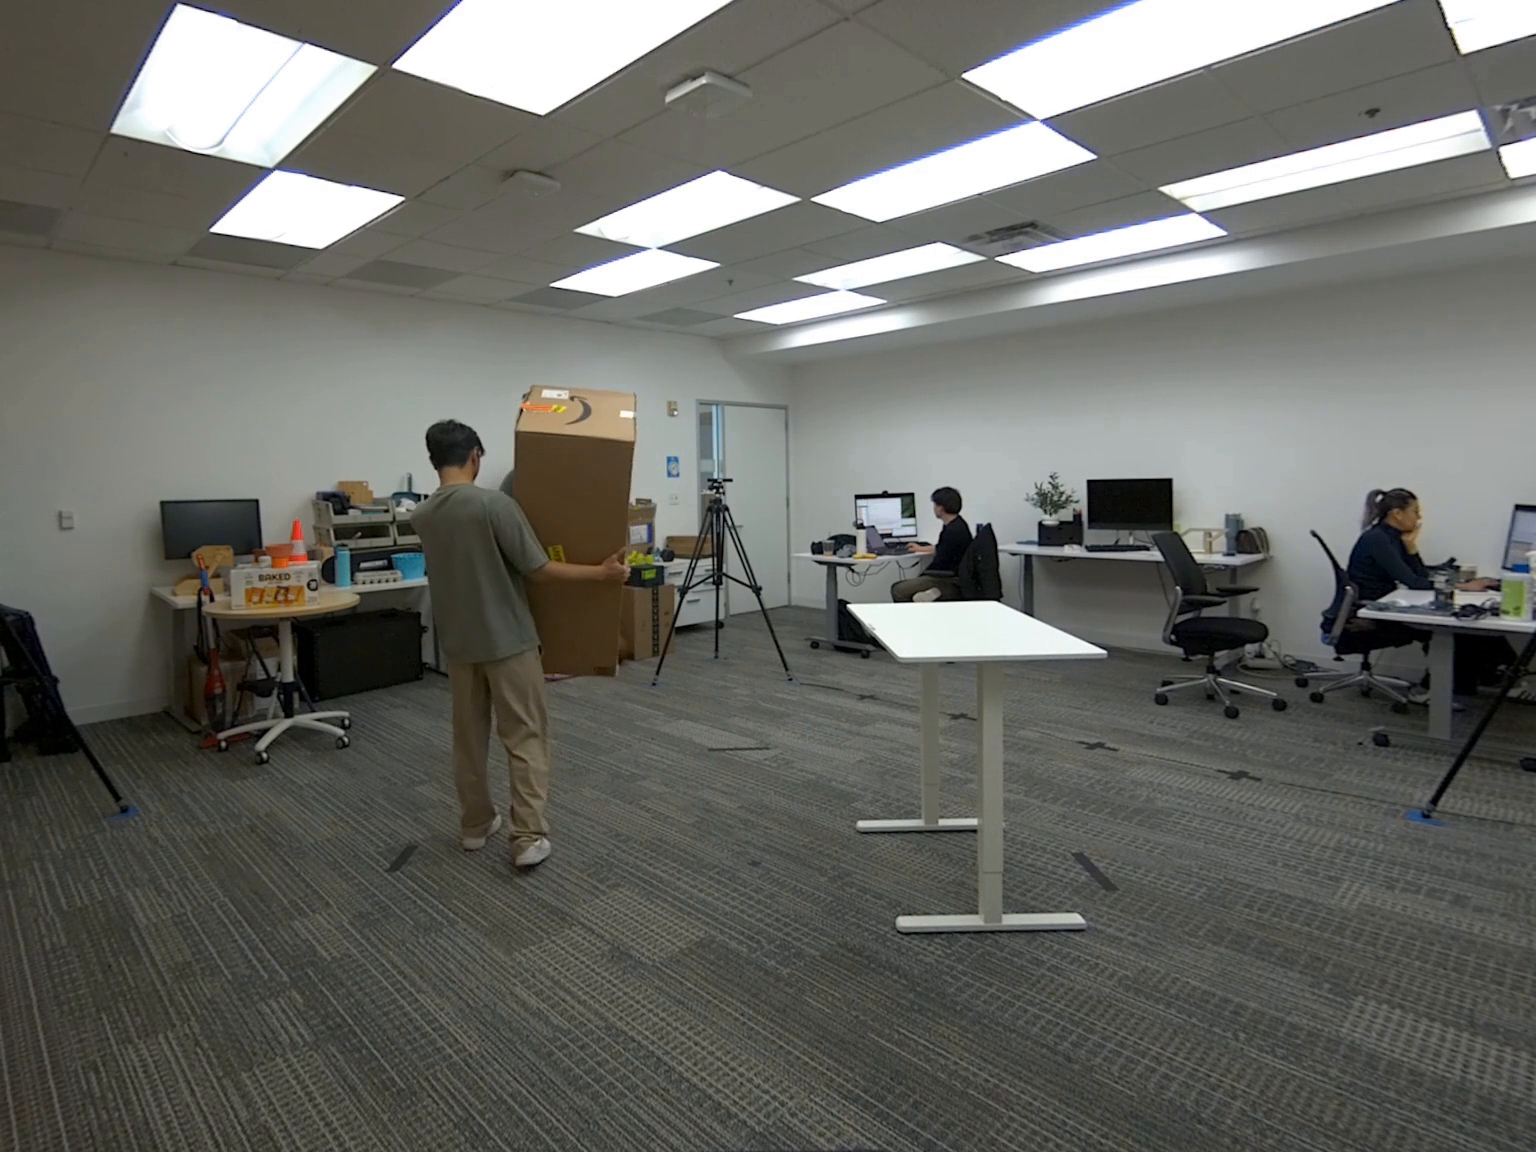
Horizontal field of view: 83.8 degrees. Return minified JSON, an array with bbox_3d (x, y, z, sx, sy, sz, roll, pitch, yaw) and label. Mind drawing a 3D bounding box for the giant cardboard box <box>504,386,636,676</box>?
[{"bbox_3d":[-0.785,-0.182,3.462,0.422,1.007,0.593,4,27,-10],"label":"giant cardboard box"}]
